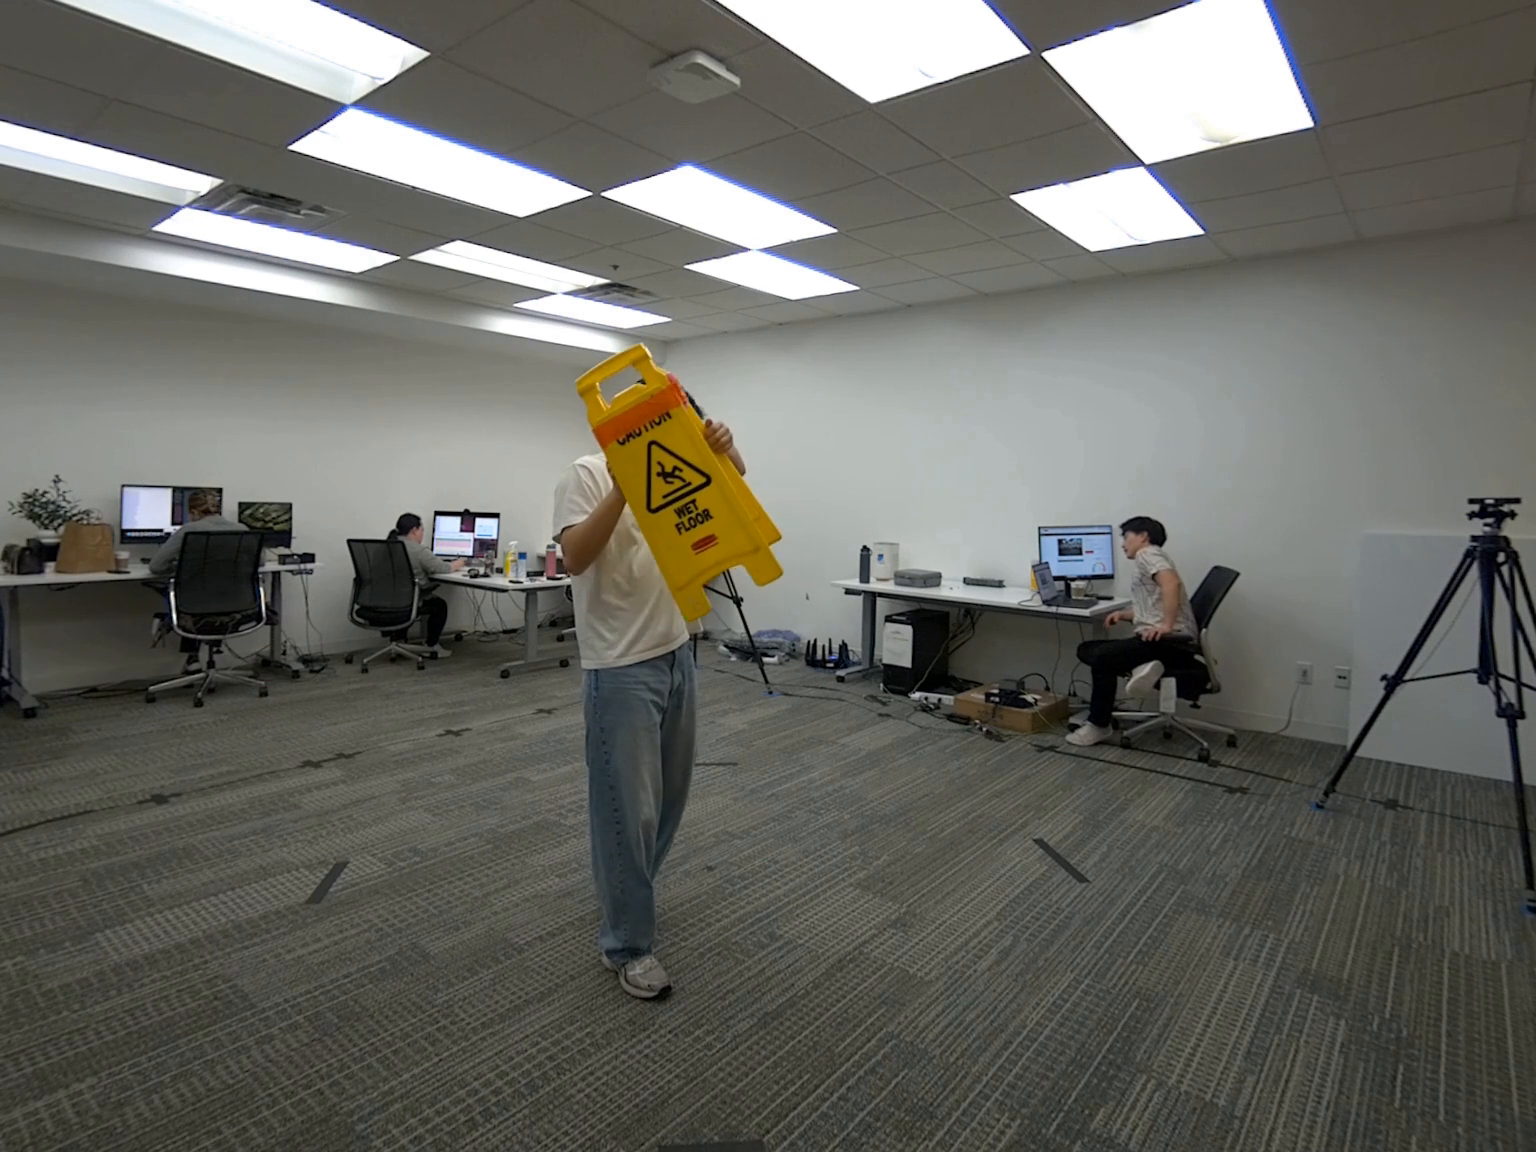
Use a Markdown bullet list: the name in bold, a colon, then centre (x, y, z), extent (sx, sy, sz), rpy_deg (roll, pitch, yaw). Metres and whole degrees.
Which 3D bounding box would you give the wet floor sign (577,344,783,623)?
- **wet floor sign**: centre (-0.246, -0.256, 2.149), extent (0.283, 0.635, 0.294), rpy_deg (-27, 13, 7)
